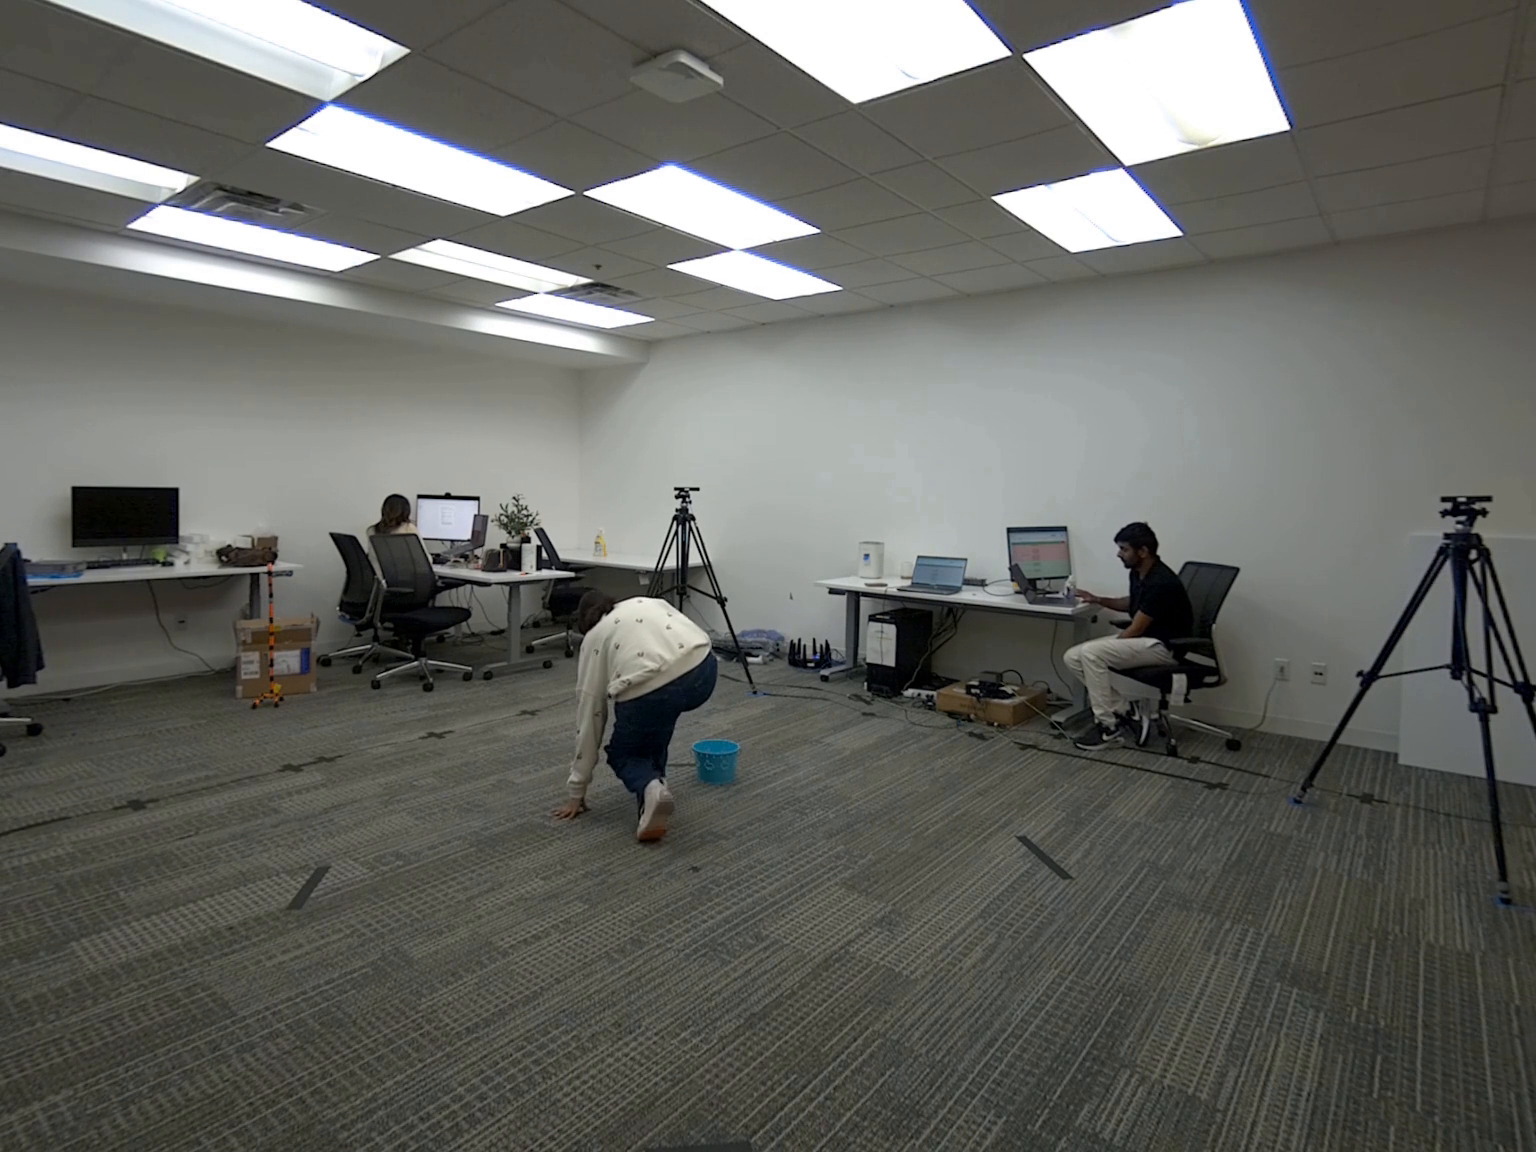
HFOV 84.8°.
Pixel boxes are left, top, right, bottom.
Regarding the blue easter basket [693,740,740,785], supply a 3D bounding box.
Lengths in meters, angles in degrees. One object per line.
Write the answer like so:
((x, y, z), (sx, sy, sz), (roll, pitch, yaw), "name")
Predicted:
((-0.257, 0.892, 4.107), (0.243, 0.155, 0.245), (1, 5, -2), "blue easter basket")
